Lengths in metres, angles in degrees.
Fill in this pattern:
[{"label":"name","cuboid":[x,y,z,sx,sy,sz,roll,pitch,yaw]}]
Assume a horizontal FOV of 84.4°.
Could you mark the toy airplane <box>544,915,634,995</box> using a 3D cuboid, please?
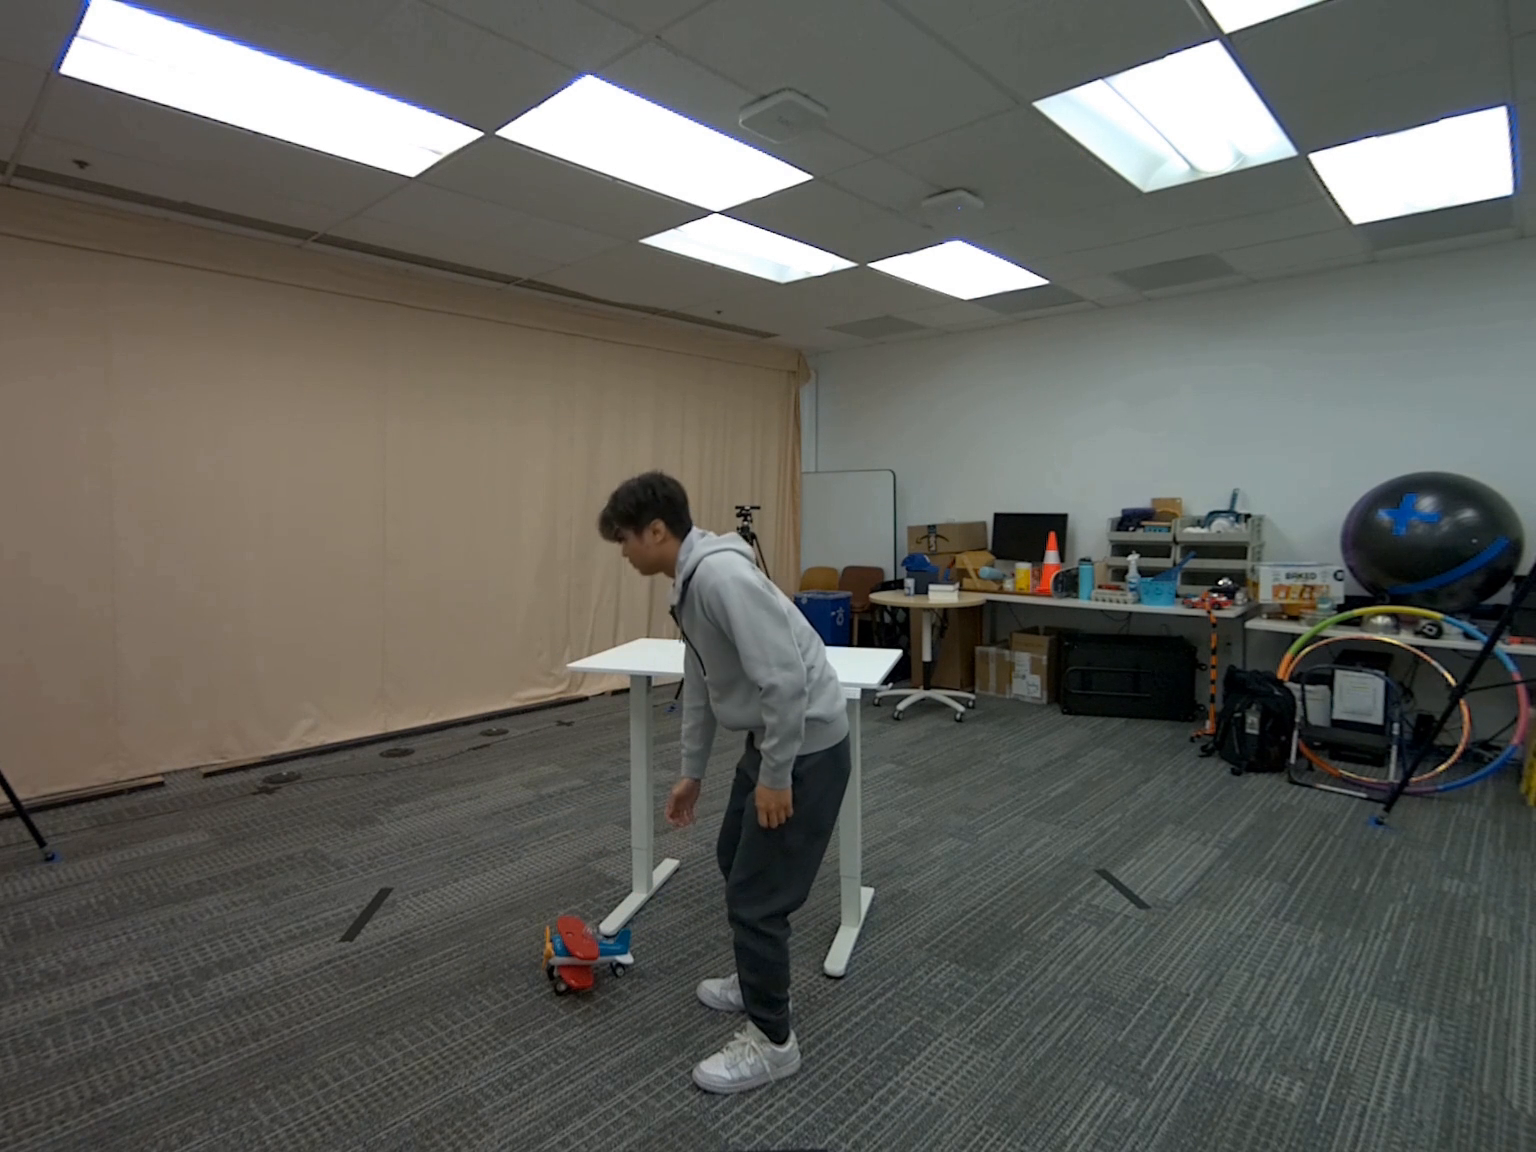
[{"label":"toy airplane","cuboid":[-0.546,1.114,2.492,0.259,0.156,0.252,4,7,37]}]
